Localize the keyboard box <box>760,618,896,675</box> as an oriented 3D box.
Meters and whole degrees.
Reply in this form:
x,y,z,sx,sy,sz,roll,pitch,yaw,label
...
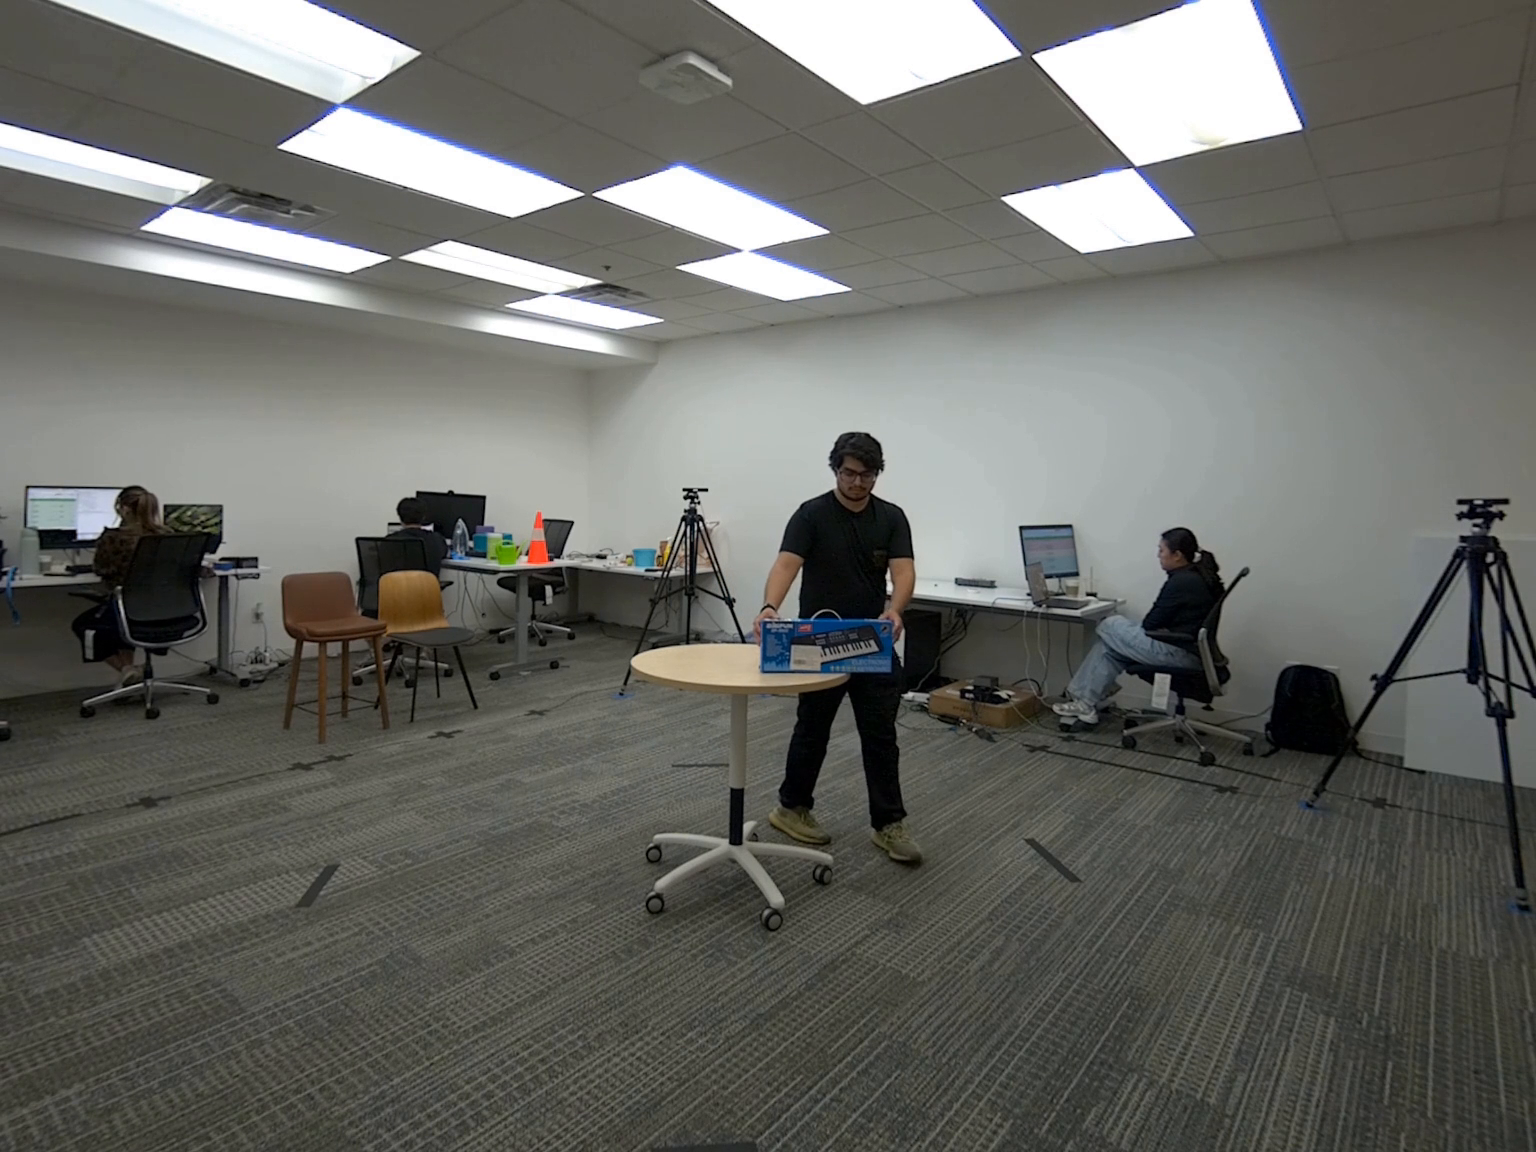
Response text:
x,y,z,sx,sy,sz,roll,pitch,yaw,label
0.186,0.230,2.847,0.434,0.175,0.060,0,4,-6,keyboard box
